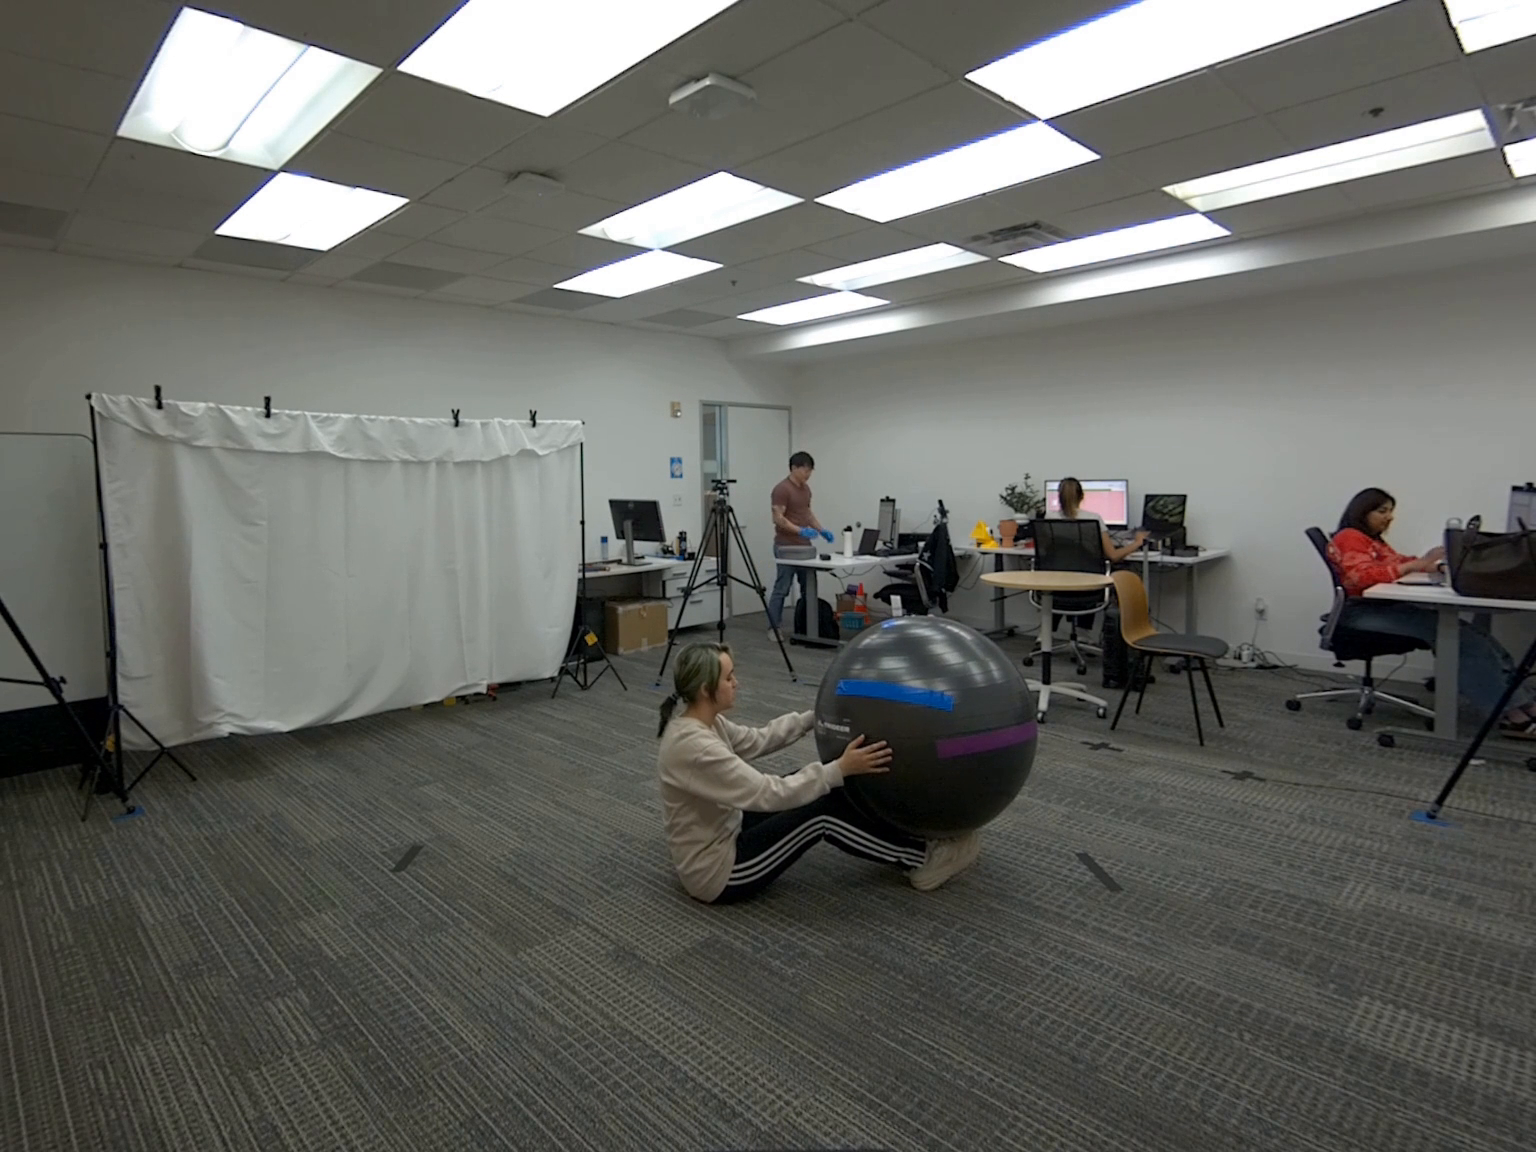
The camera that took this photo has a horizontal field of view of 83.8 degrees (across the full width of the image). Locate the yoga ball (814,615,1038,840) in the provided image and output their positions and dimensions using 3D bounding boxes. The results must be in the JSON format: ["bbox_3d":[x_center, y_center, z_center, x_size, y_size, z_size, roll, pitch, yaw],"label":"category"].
[{"bbox_3d":[0.564,0.526,2.998,0.757,0.755,0.762,-1,5,-2],"label":"yoga ball"}]
